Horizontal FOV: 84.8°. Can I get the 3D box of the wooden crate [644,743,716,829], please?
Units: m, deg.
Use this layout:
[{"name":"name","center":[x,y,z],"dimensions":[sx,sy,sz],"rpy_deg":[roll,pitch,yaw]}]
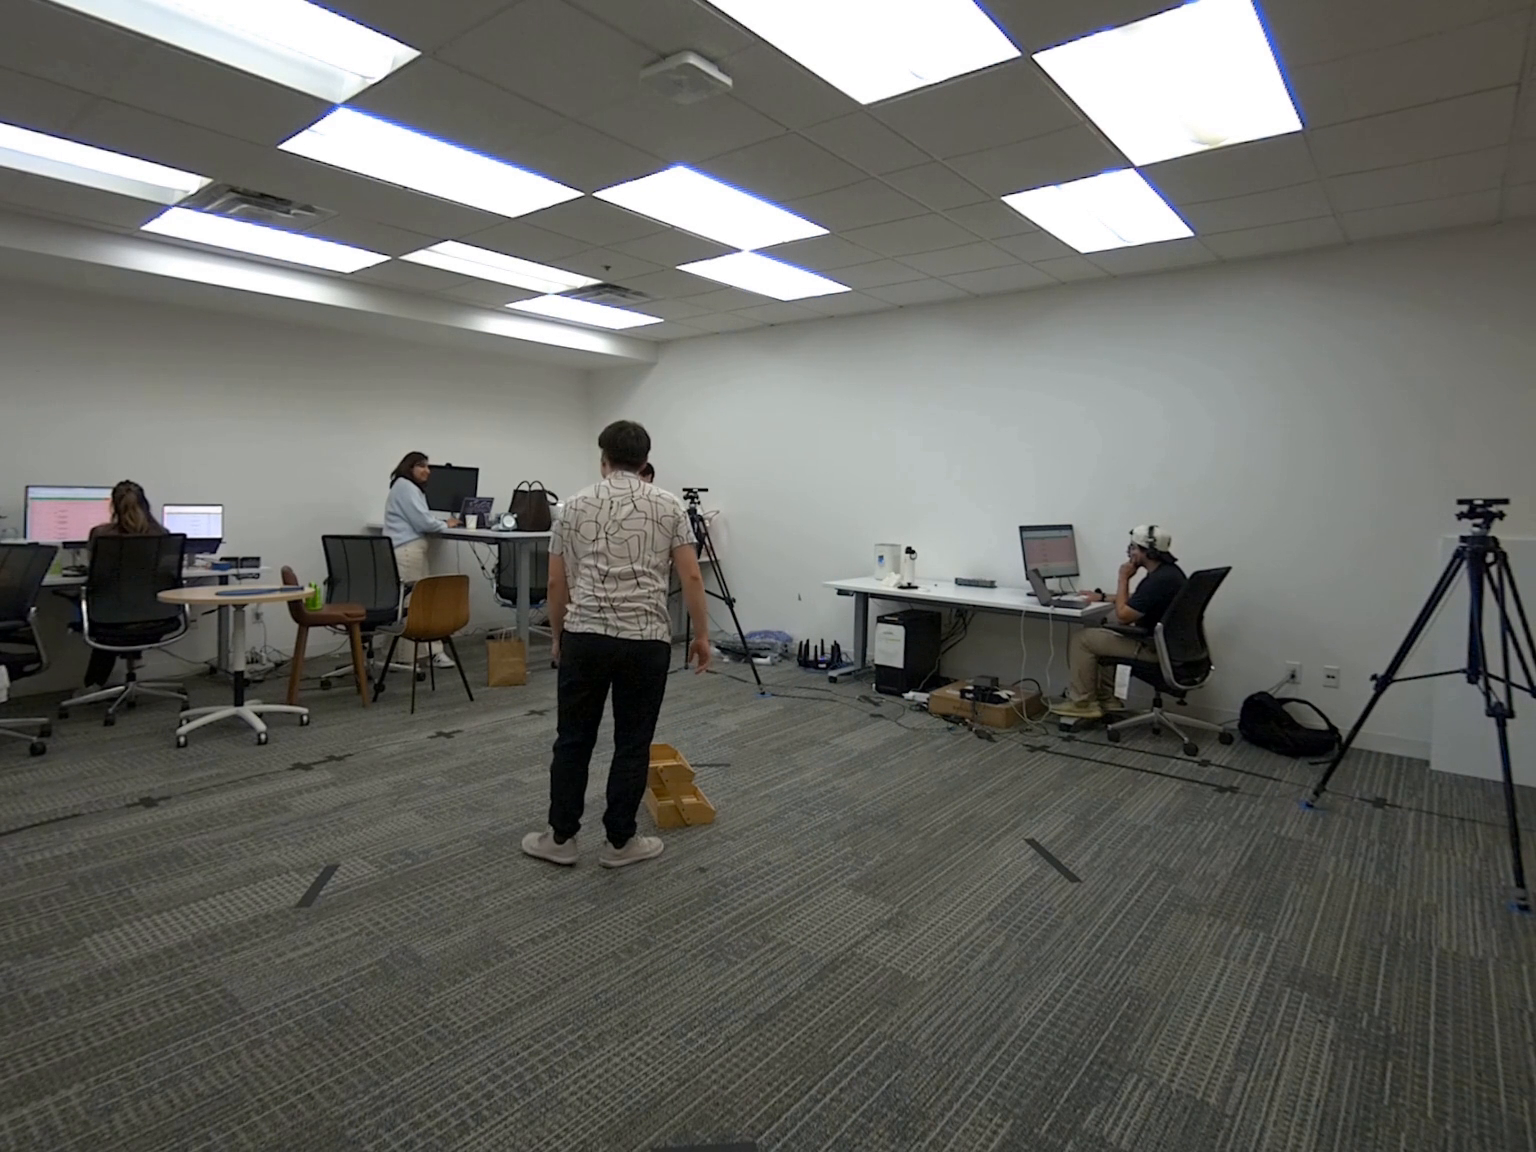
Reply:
[{"name":"wooden crate","center":[-0.404,0.887,3.674],"dimensions":[0.297,0.272,0.331],"rpy_deg":[-2,4,-18]}]
